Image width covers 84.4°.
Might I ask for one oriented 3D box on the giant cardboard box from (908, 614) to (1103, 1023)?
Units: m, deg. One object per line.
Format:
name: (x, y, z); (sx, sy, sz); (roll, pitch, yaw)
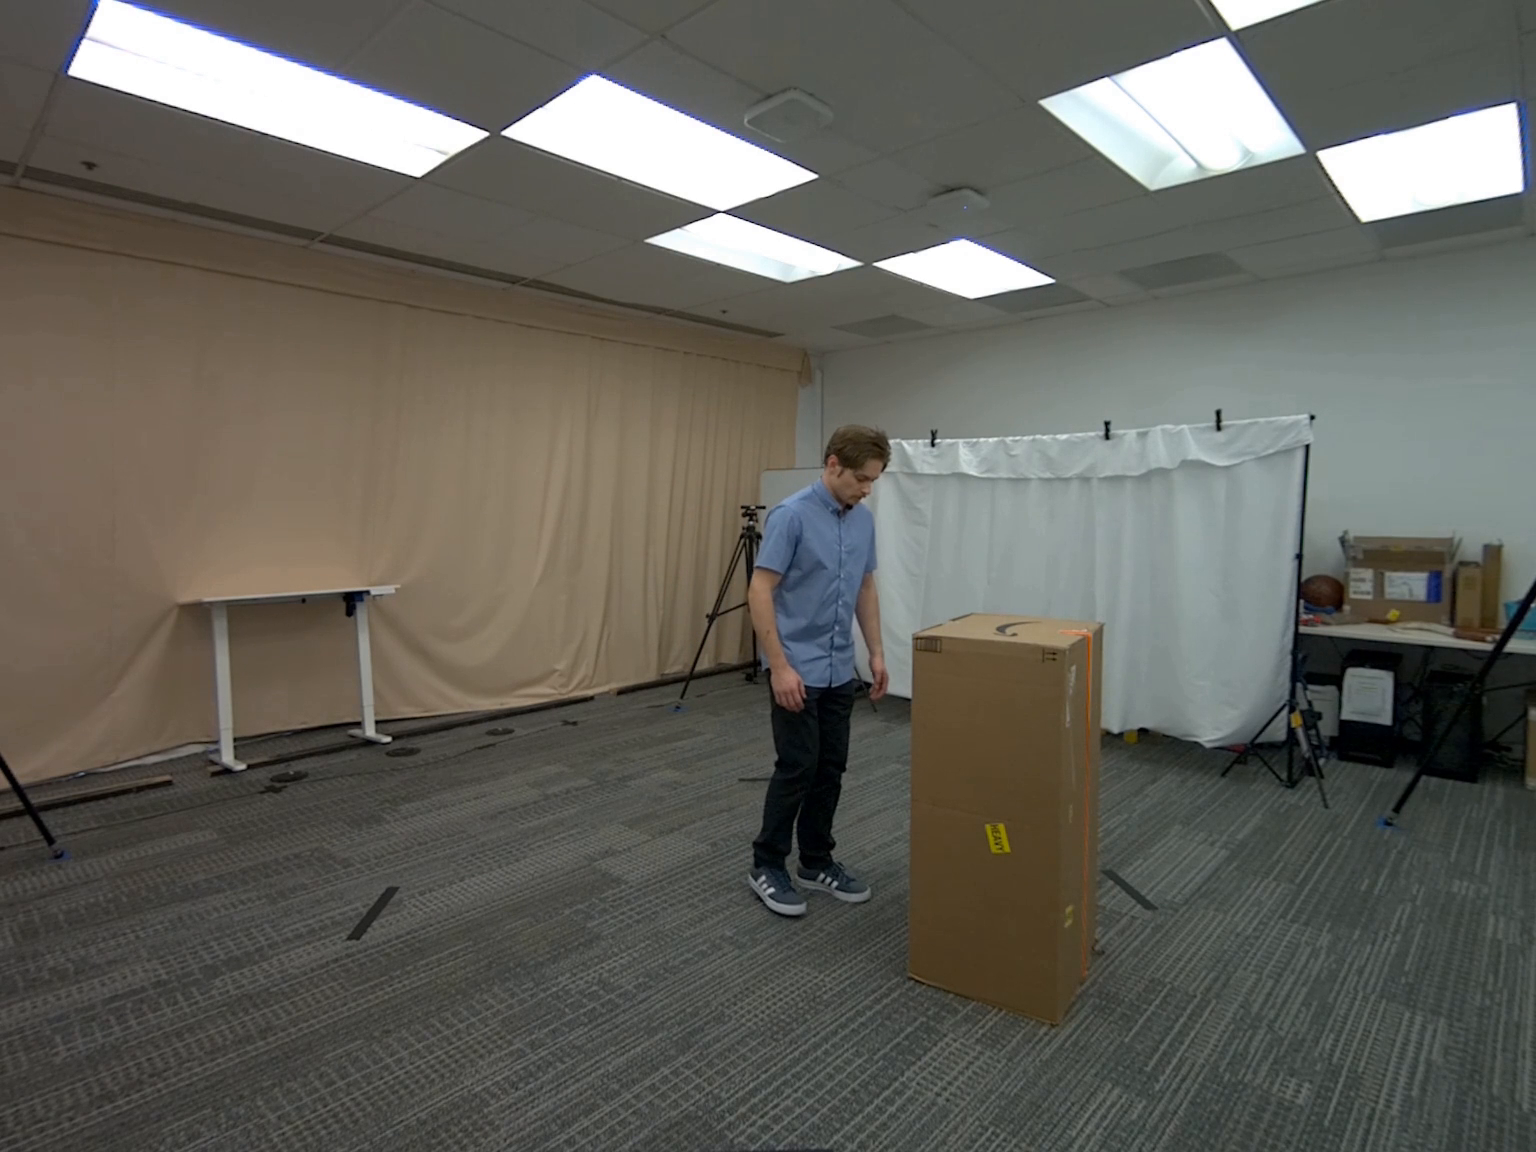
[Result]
giant cardboard box: (0.751, 0.669, 2.566); (0.439, 1.024, 0.561); (2, 4, 33)
